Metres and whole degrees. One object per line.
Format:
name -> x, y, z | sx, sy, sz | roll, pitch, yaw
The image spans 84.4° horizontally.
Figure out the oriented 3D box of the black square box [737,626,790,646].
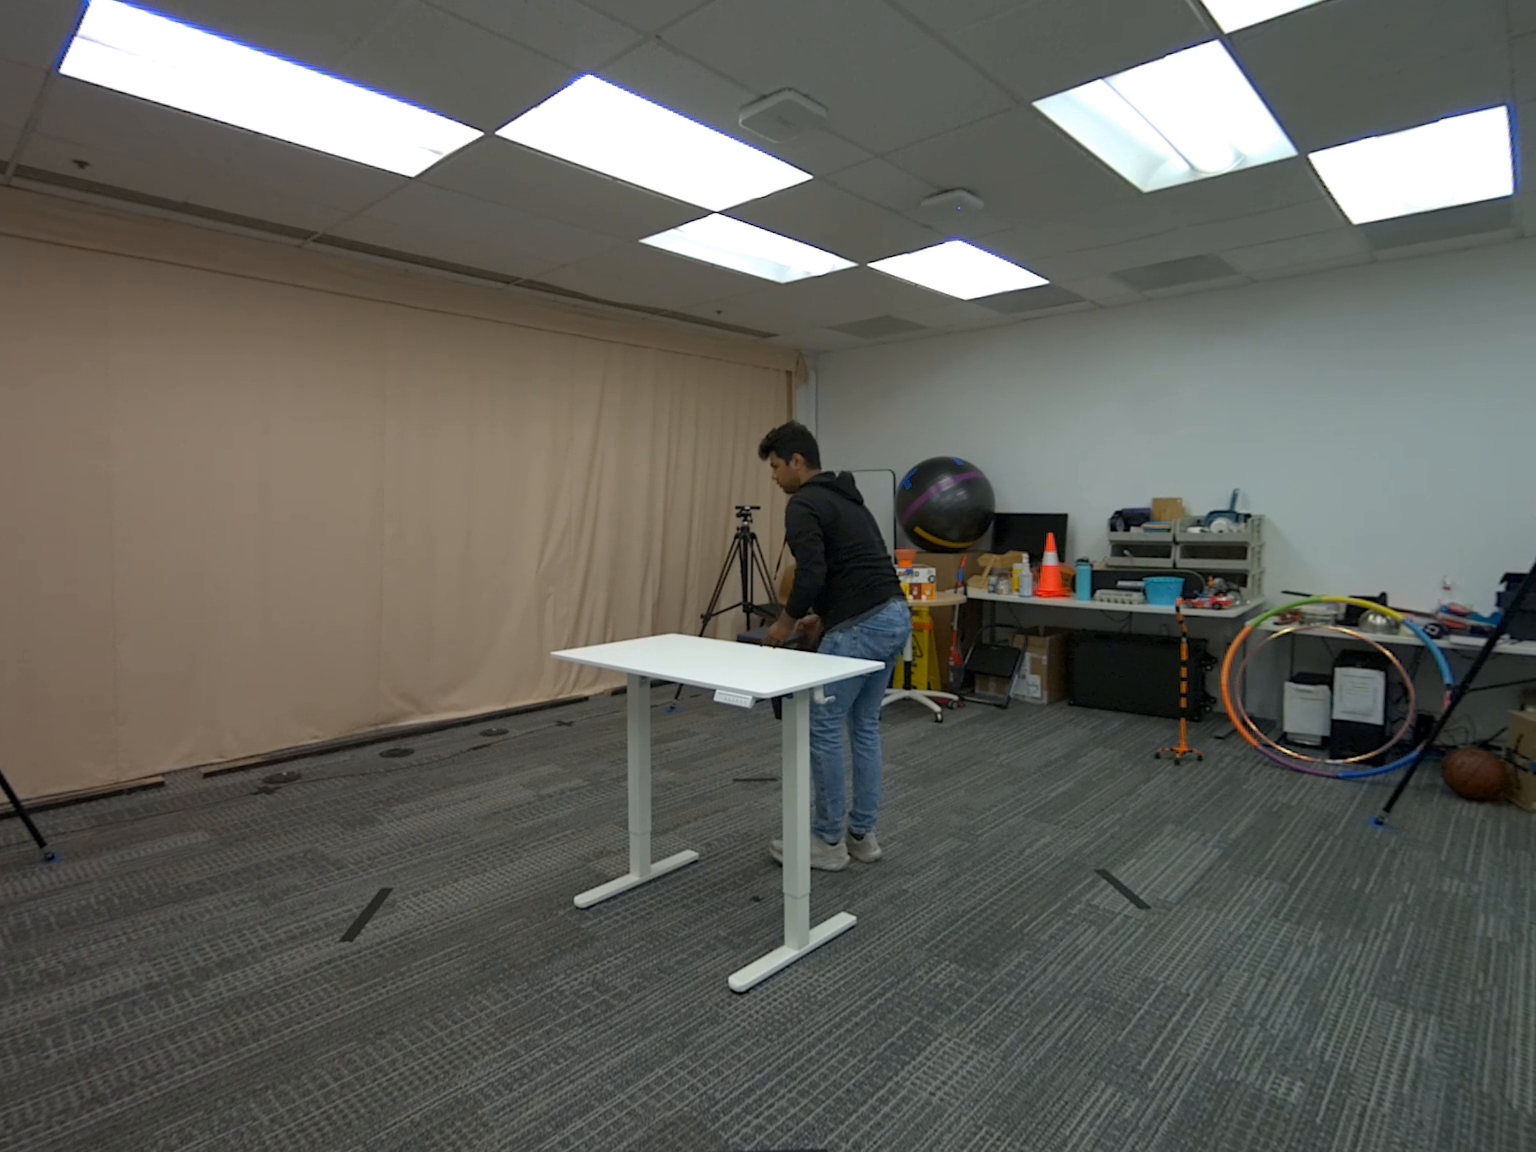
black square box -> 0.003, 0.321, 3.533 | 0.223, 0.155, 0.222 | 8, 9, 28
